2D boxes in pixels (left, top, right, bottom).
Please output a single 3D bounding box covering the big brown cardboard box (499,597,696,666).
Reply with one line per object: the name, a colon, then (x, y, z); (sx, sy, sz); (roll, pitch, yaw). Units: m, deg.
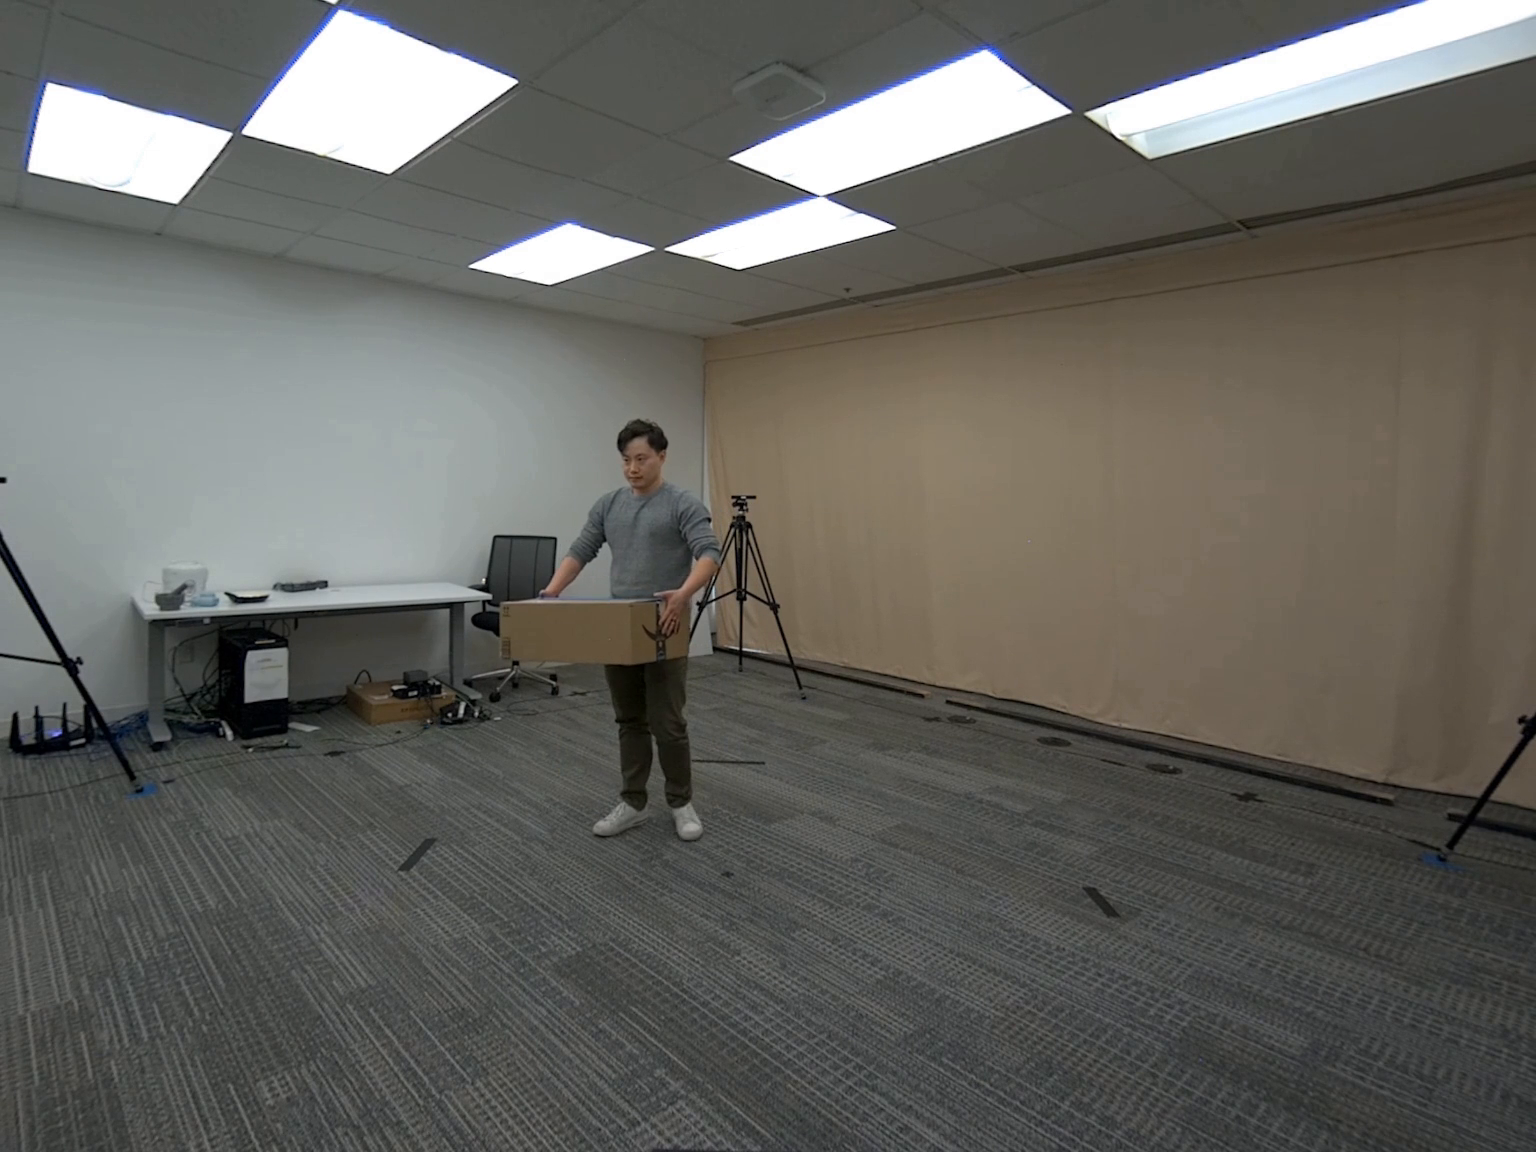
big brown cardboard box: (-0.651, 0.196, 3.158); (0.599, 0.233, 0.410); (0, 0, 24)
